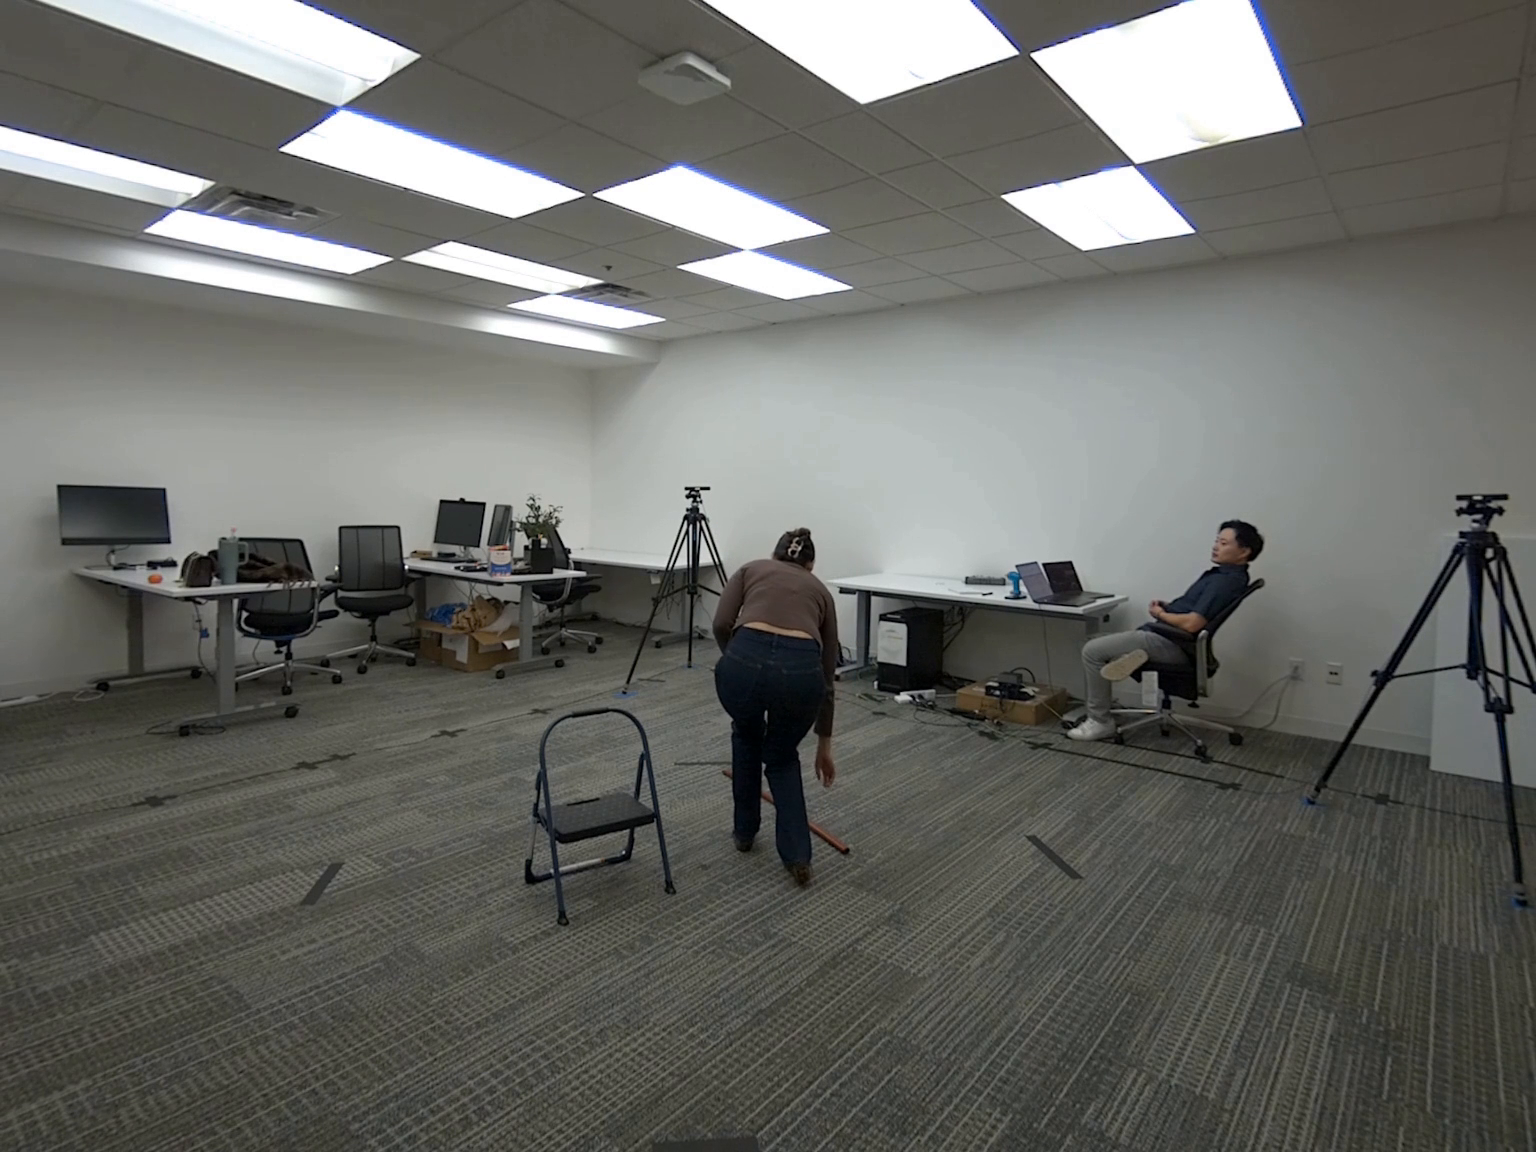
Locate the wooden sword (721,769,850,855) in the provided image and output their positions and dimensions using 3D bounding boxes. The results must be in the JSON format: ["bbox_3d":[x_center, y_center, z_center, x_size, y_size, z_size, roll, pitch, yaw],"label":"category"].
[{"bbox_3d":[0.037,0.990,3.699,0.050,0.024,1.055,-8,9,-28],"label":"wooden sword"}]
